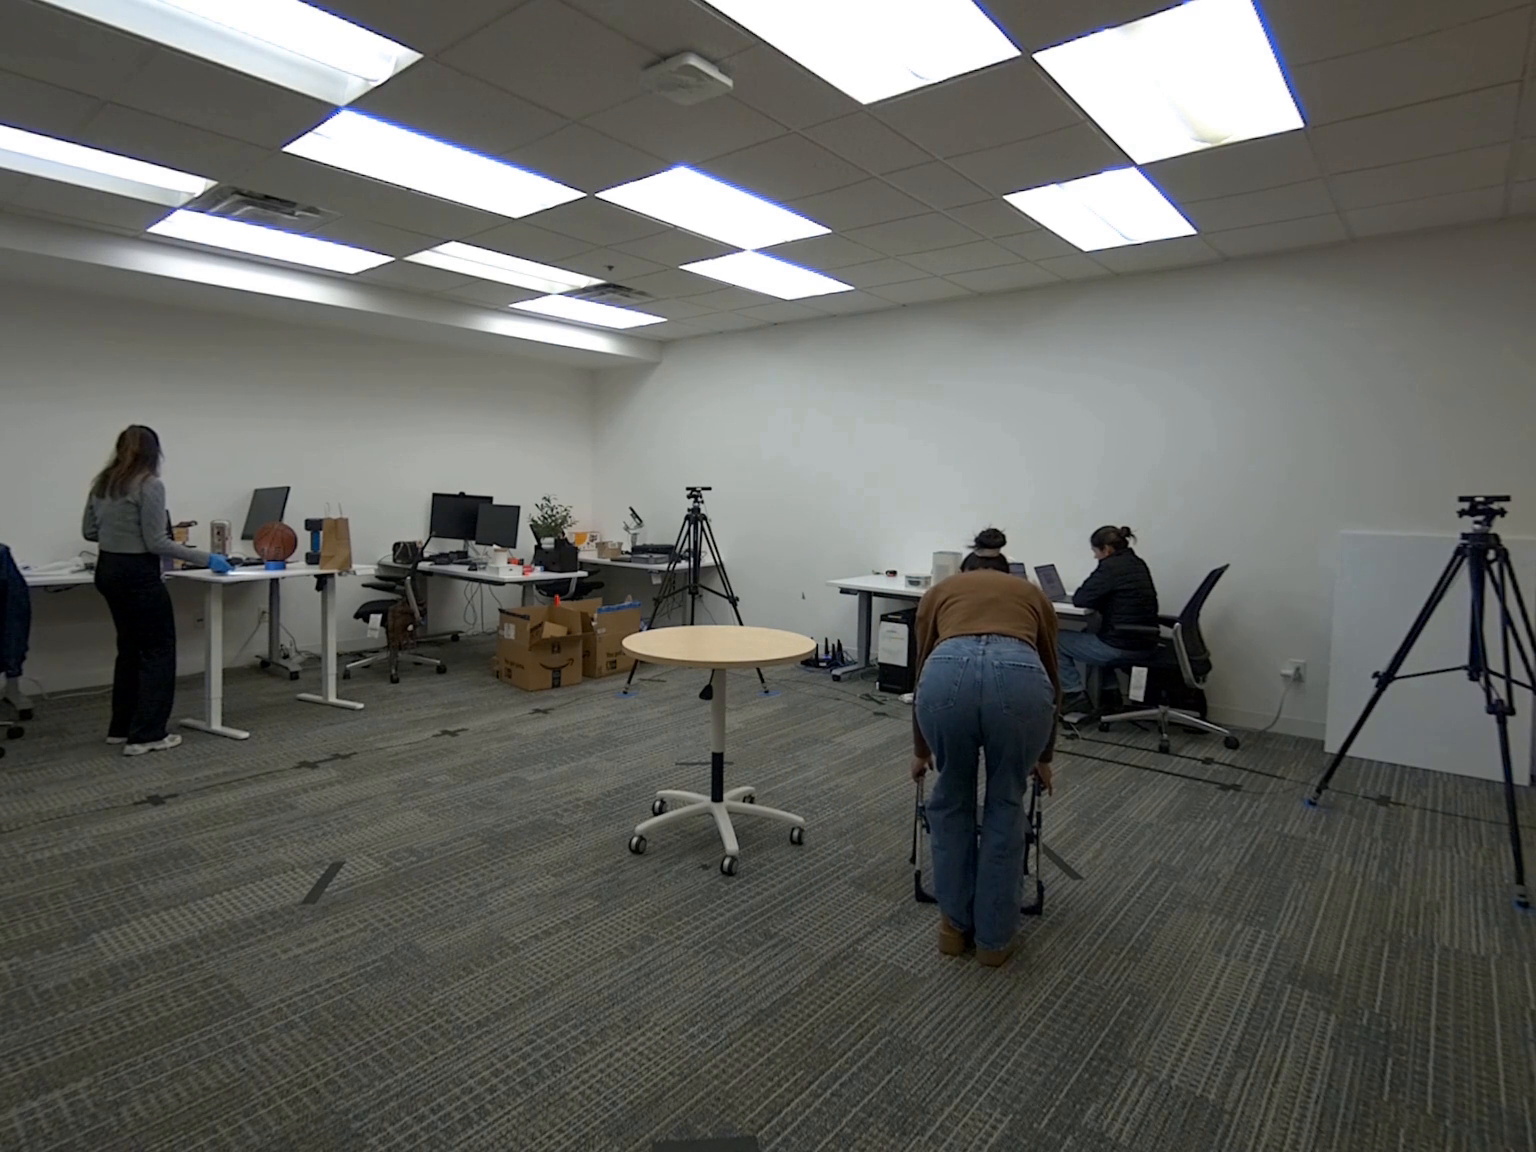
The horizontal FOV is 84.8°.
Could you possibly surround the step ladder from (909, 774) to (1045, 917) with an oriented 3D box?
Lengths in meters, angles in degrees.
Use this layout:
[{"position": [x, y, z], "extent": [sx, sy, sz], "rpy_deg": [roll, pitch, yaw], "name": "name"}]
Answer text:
[{"position": [0.726, 0.789, 2.996], "extent": [0.436, 0.604, 0.346], "rpy_deg": [2, 4, 10], "name": "step ladder"}]
